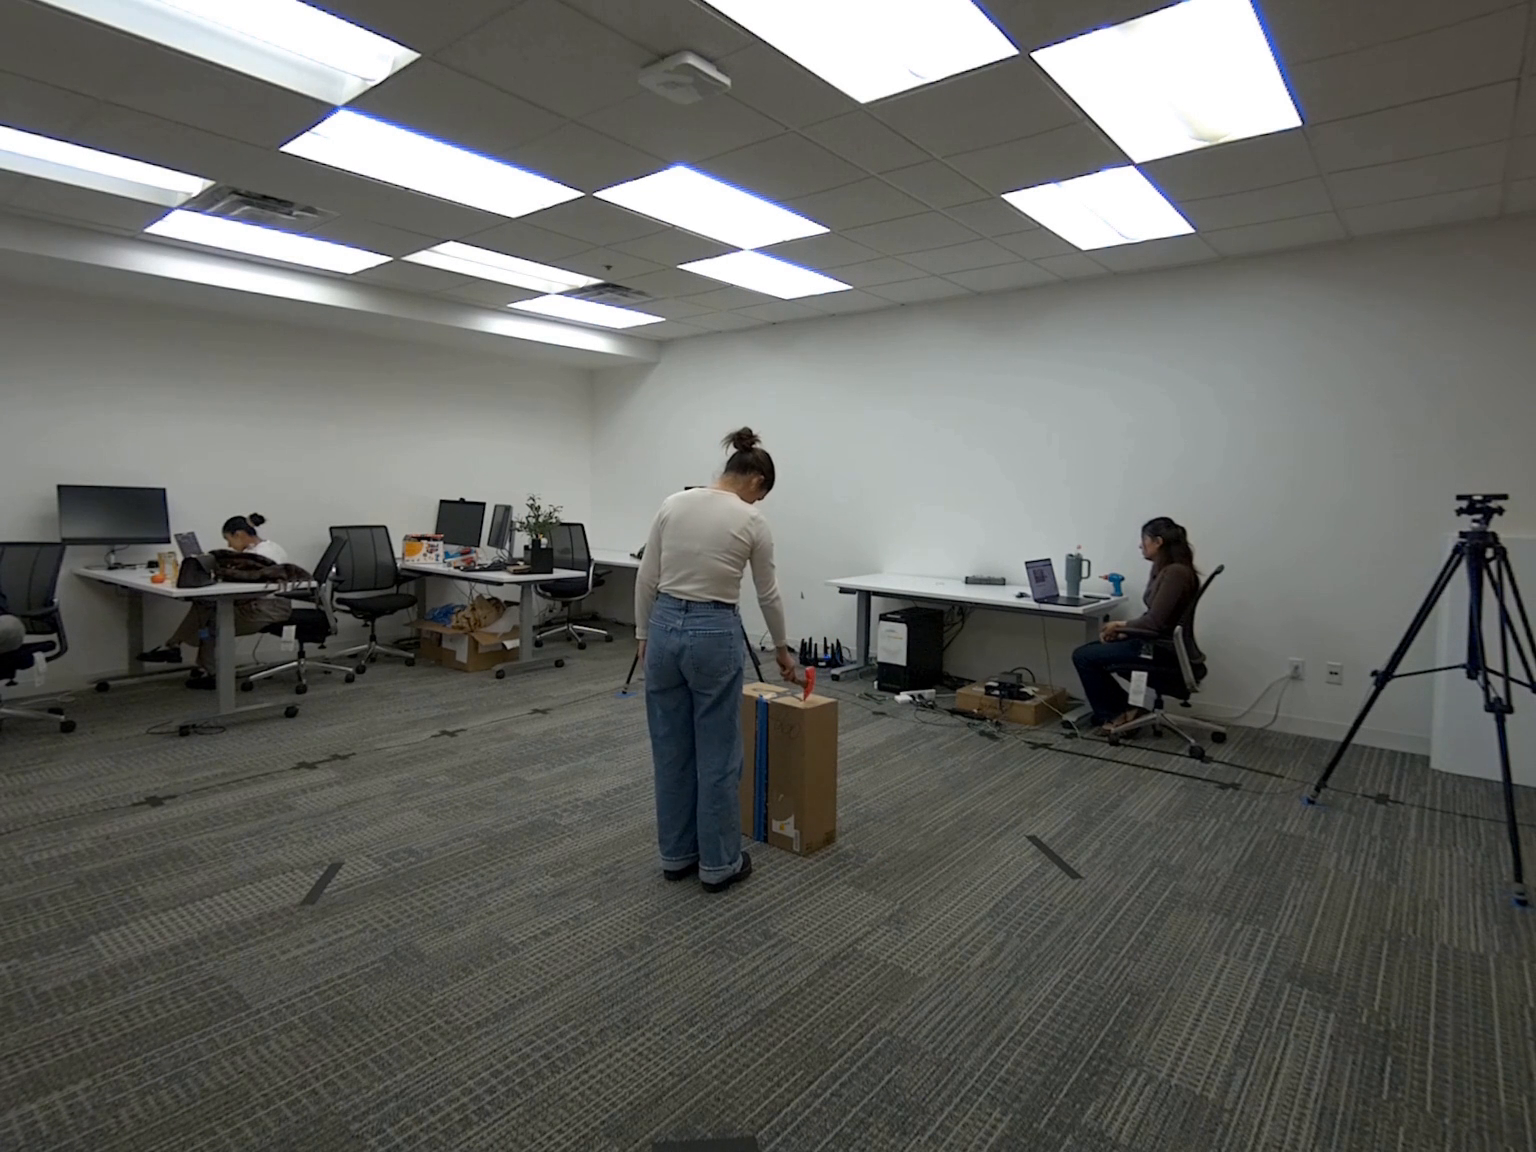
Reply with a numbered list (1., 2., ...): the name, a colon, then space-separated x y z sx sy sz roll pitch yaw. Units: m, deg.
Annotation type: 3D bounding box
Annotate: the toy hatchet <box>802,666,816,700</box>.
1. toy hatchet: 0.116 0.369 3.248 0.030 0.132 0.259 11 -26 29
